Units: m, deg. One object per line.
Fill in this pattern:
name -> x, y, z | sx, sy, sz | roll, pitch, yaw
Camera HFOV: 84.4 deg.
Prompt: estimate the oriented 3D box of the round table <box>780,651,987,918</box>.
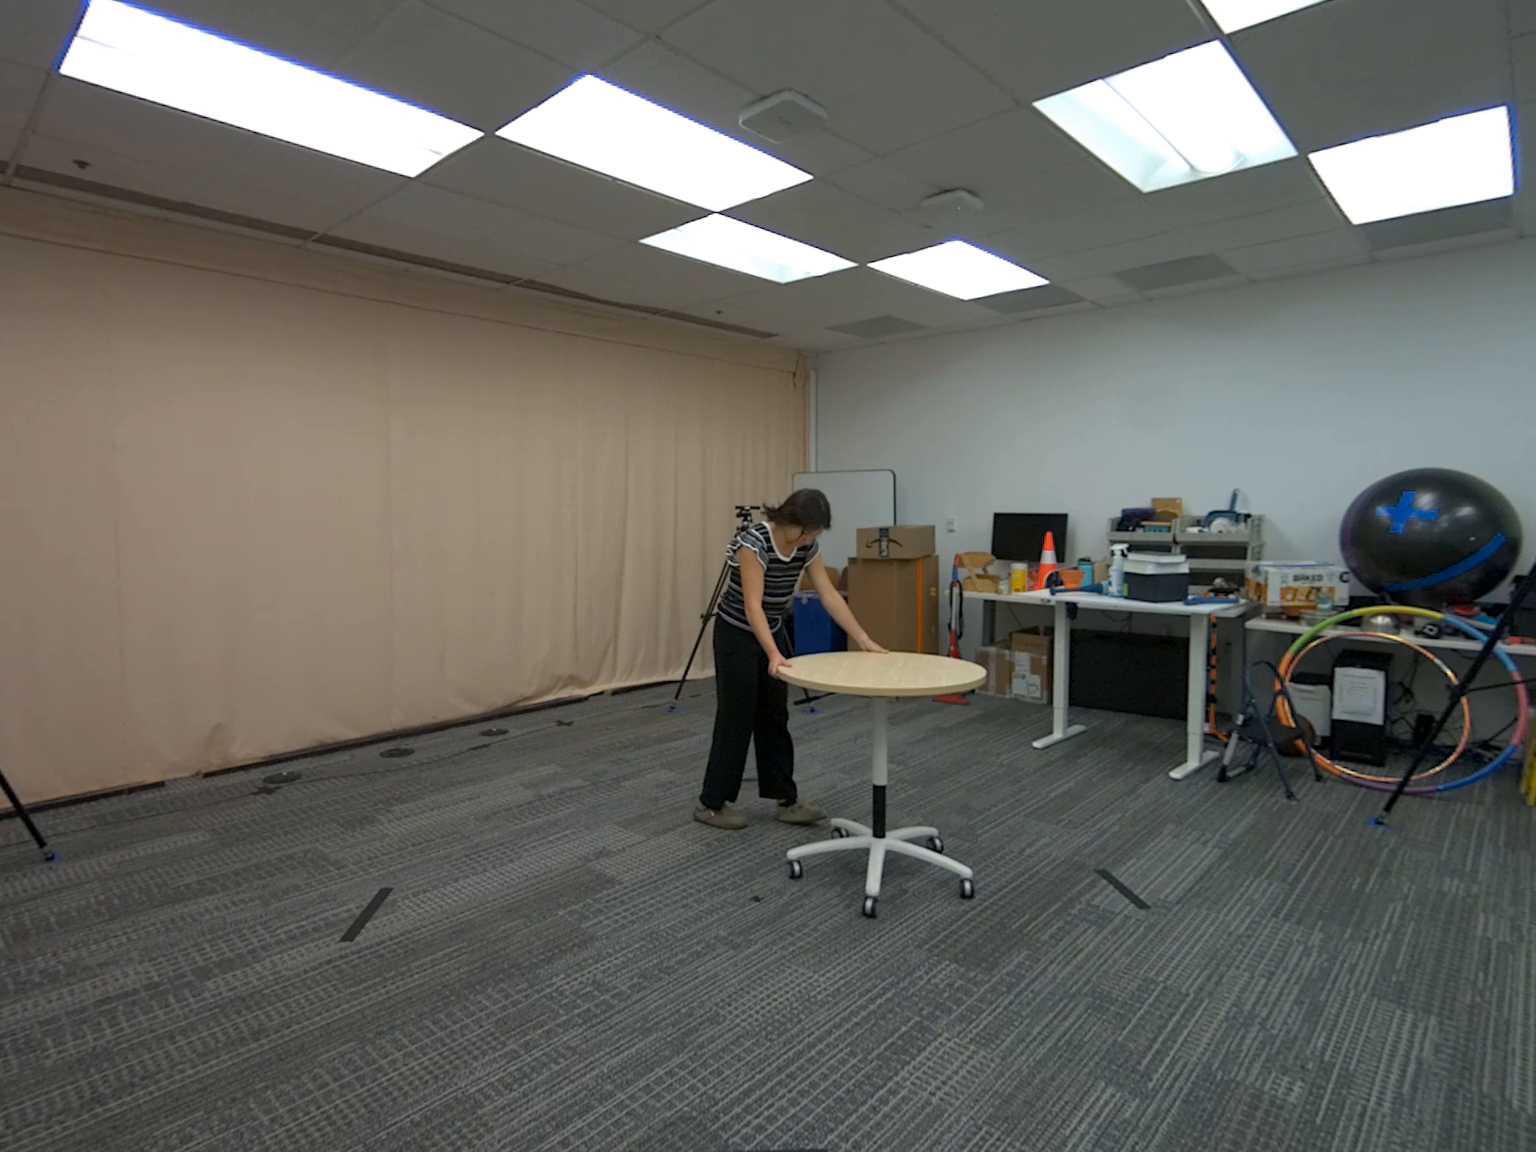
round table -> 0.427, 0.740, 3.168 | 0.763, 0.793, 0.766 | 0, 3, -2
